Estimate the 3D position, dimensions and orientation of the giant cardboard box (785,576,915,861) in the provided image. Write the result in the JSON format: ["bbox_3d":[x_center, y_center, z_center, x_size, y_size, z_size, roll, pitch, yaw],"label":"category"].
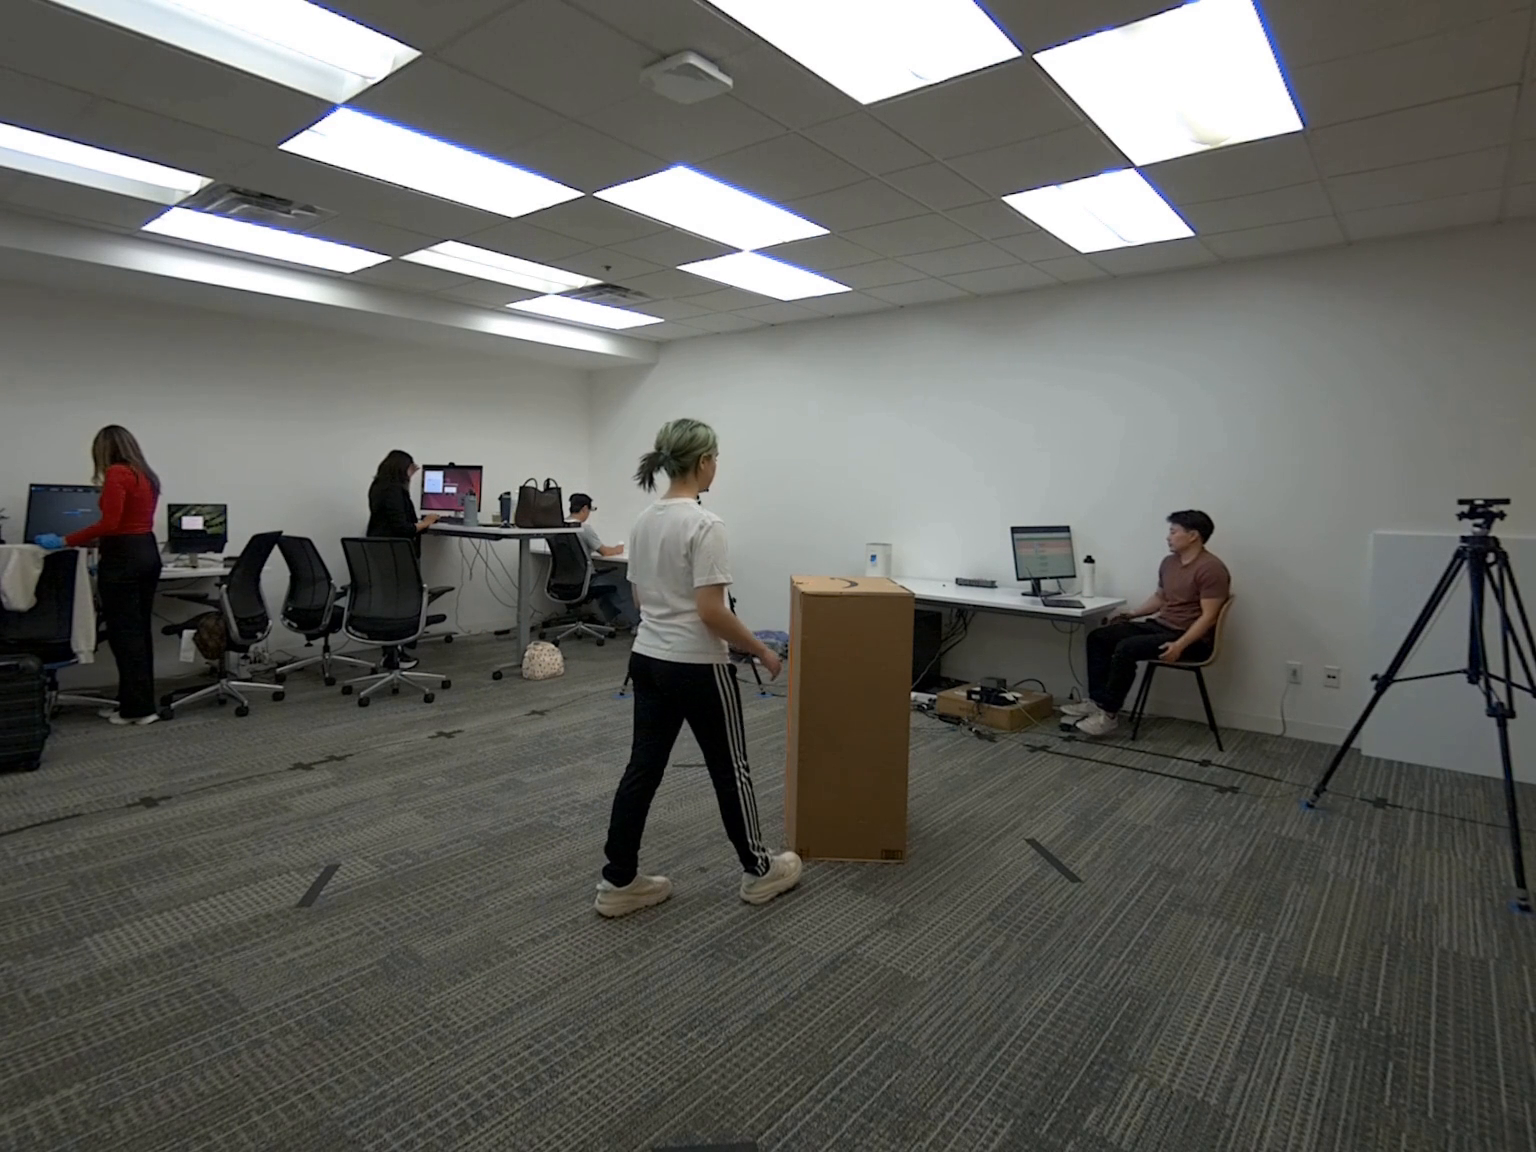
[{"bbox_3d":[0.302,0.538,3.456,0.447,1.023,0.586,1,4,-2],"label":"giant cardboard box"}]
